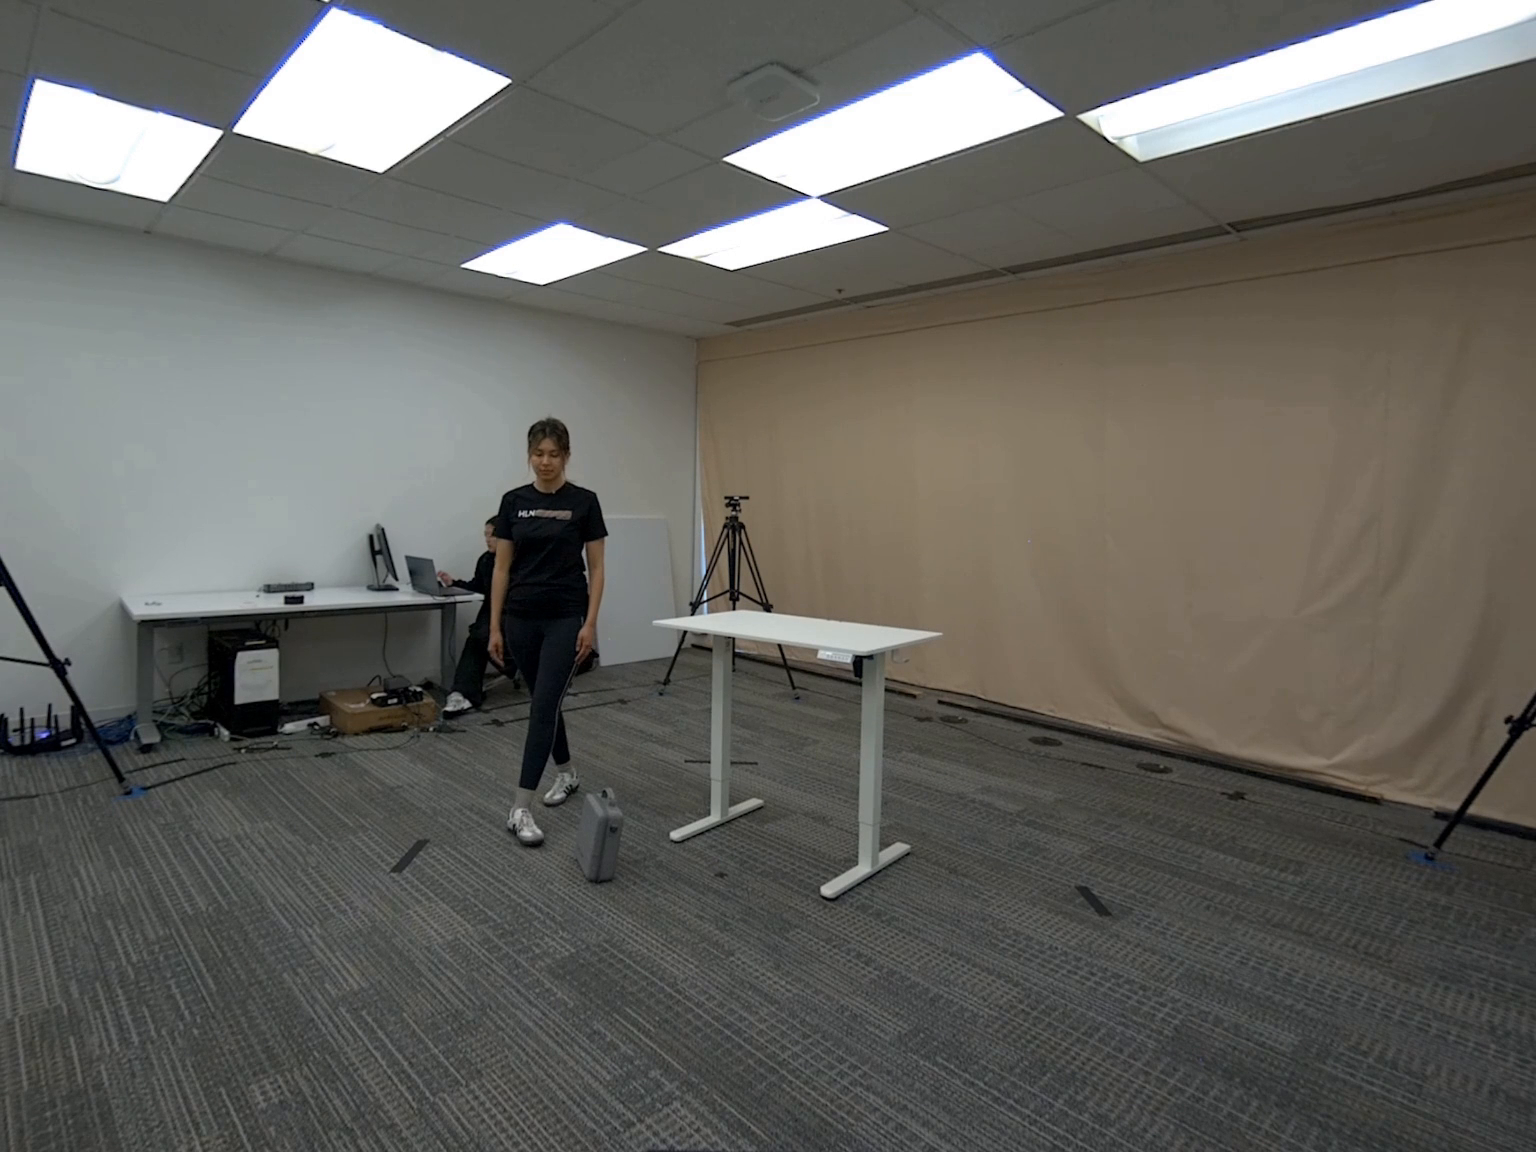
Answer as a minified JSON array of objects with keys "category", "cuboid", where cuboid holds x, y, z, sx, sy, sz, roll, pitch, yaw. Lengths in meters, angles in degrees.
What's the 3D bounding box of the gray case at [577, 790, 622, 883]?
[{"category":"gray case","cuboid":[-0.632,0.956,3.119,0.102,0.260,0.262,9,1,-23]}]
